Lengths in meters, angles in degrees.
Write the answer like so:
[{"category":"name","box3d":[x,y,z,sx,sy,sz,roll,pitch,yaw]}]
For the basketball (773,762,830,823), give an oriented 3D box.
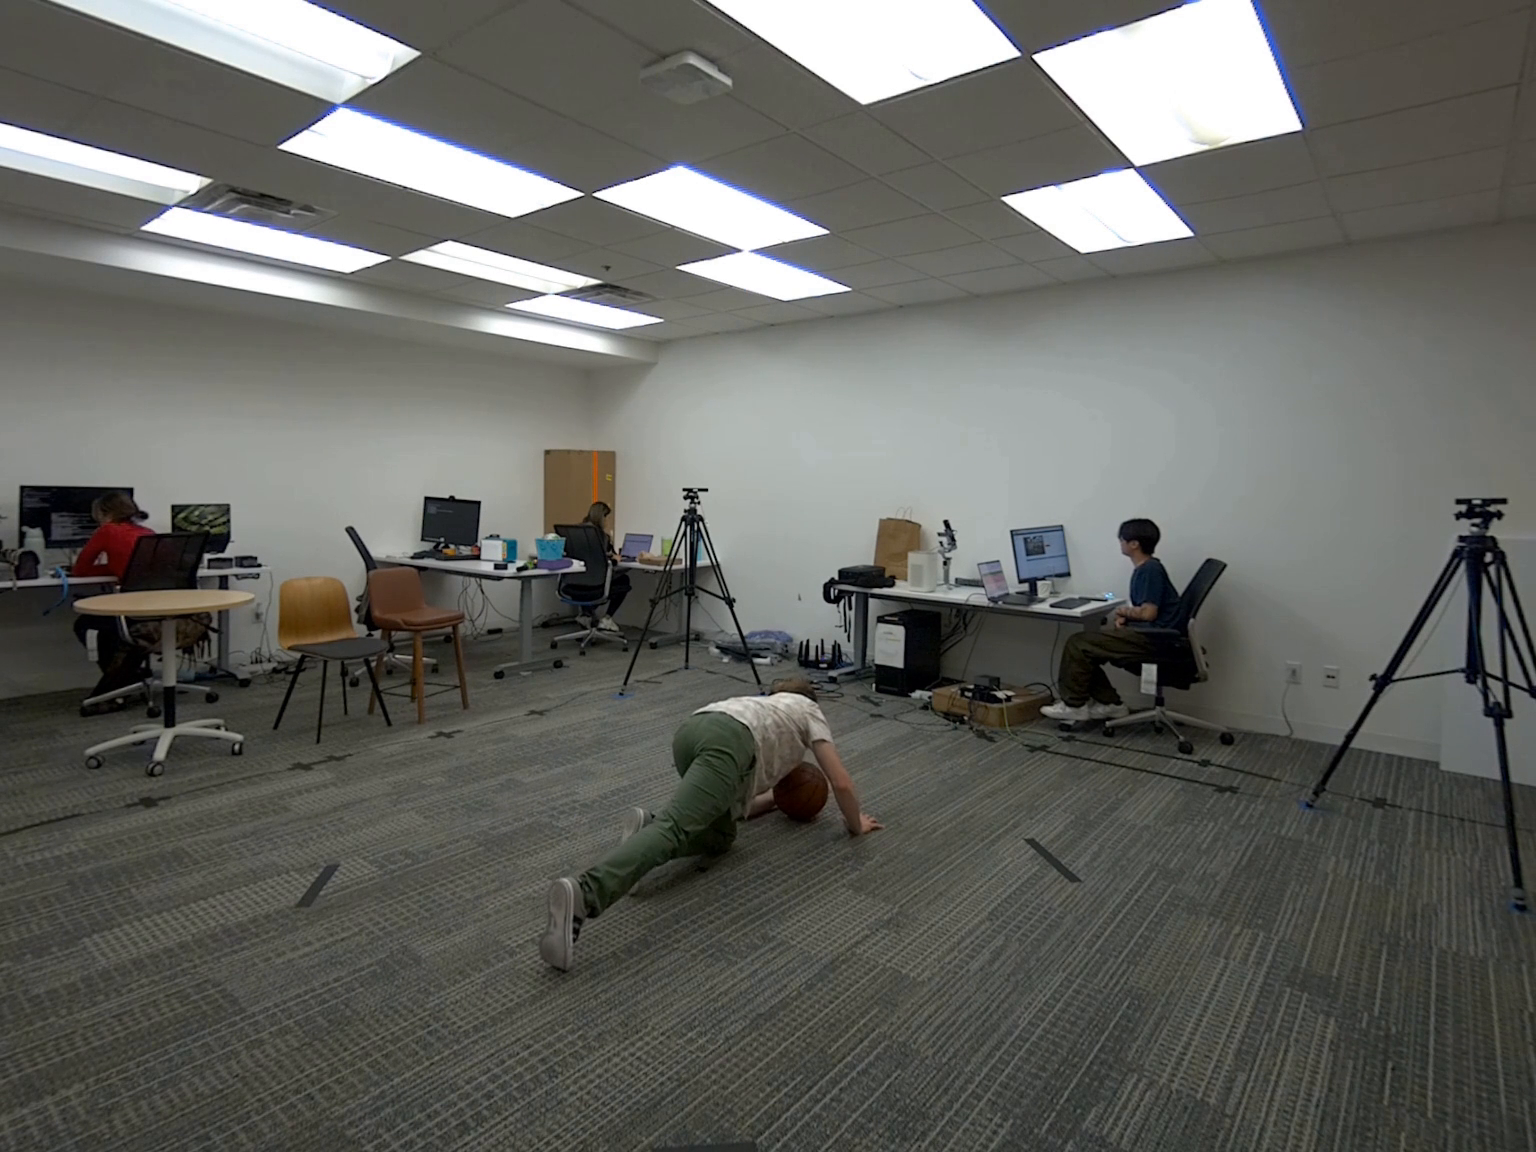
[{"category":"basketball","box3d":[0.133,0.913,3.626,0.235,0.235,0.237,1,4,-2]}]
